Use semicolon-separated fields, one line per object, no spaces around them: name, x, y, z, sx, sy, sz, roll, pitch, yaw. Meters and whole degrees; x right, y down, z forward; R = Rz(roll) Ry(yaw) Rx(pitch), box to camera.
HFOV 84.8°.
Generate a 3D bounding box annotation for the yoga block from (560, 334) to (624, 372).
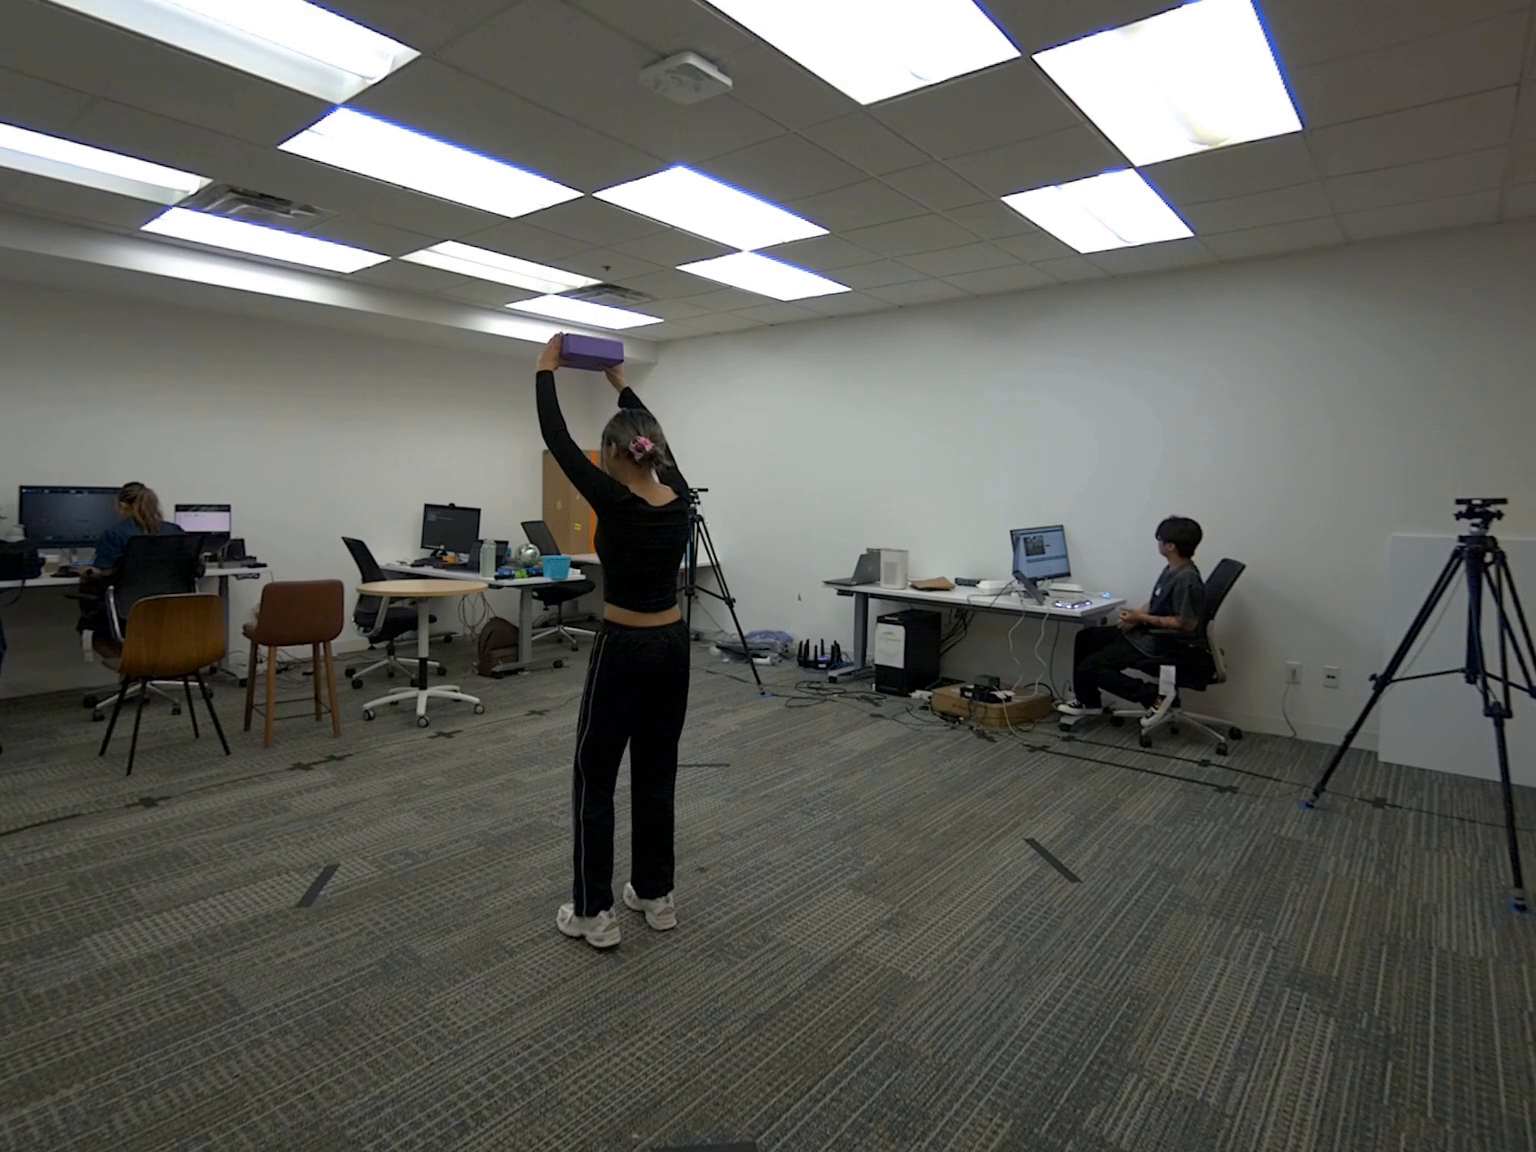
yoga block;-0.633;-0.755;2.859;0.222;0.076;0.153;-3;-1;-43
